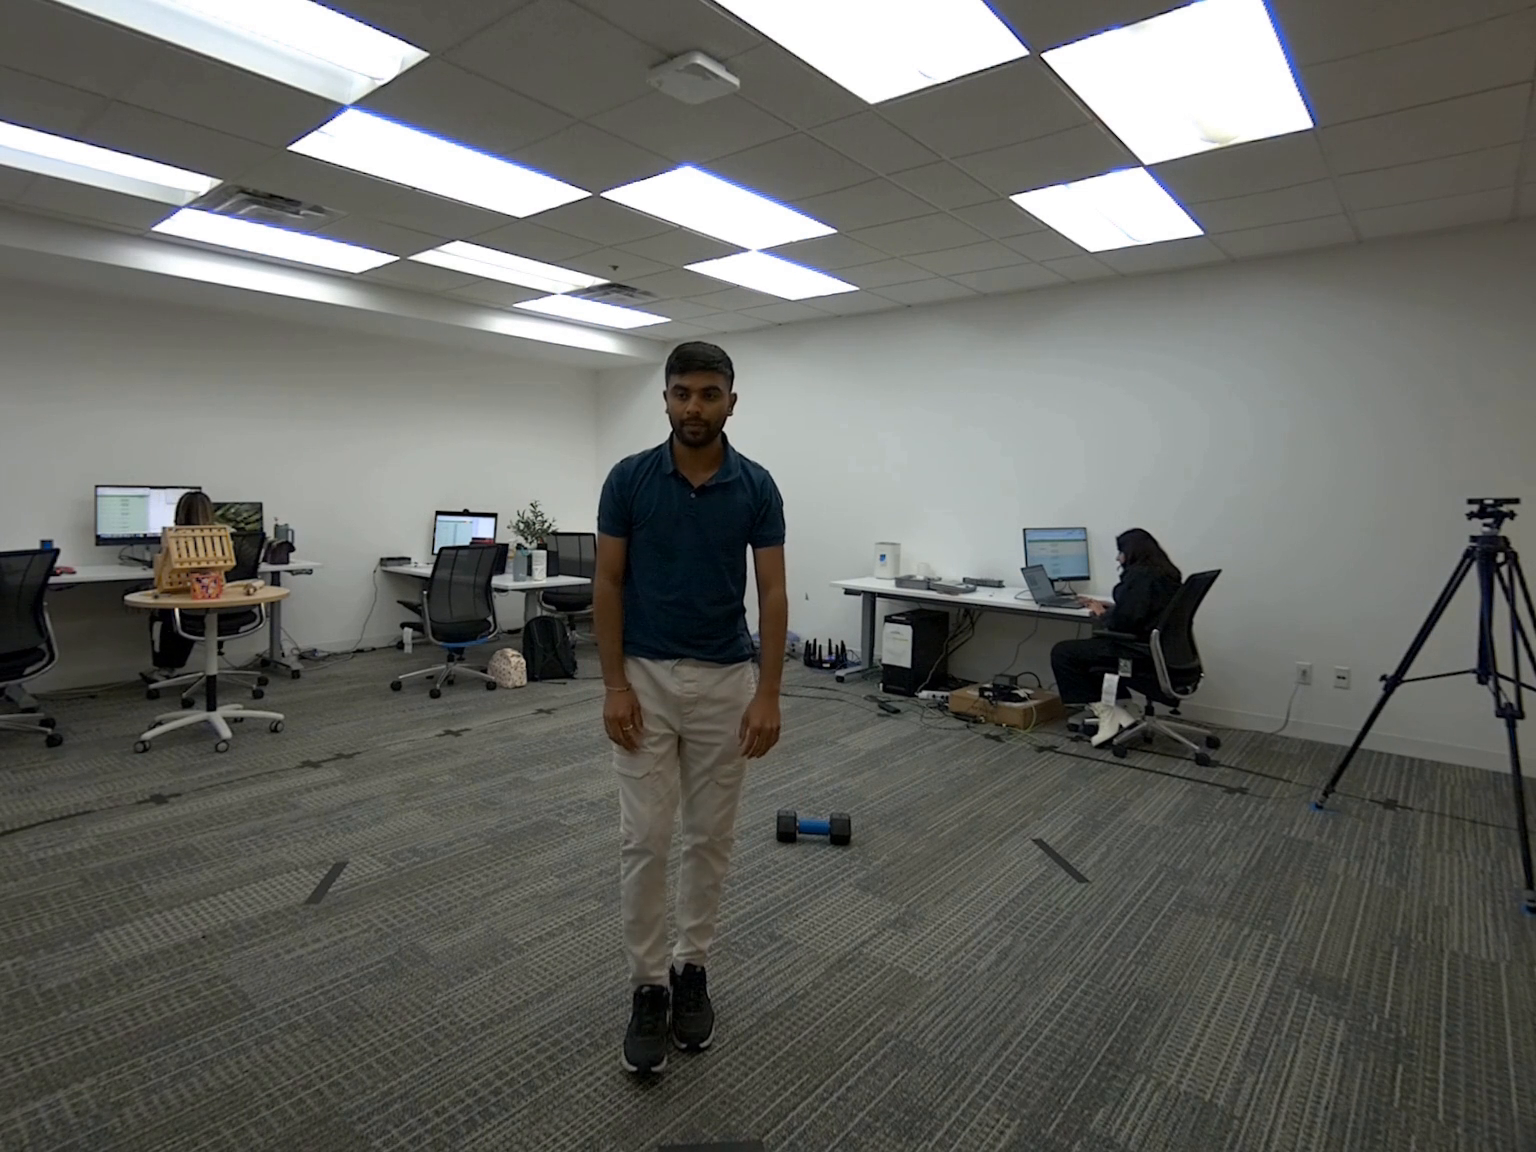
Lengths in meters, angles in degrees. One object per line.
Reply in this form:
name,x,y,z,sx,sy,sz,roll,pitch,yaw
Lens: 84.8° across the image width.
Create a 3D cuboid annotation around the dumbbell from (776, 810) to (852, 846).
dumbbell,0.174,0.992,3.384,0.295,0.108,0.123,1,4,4
